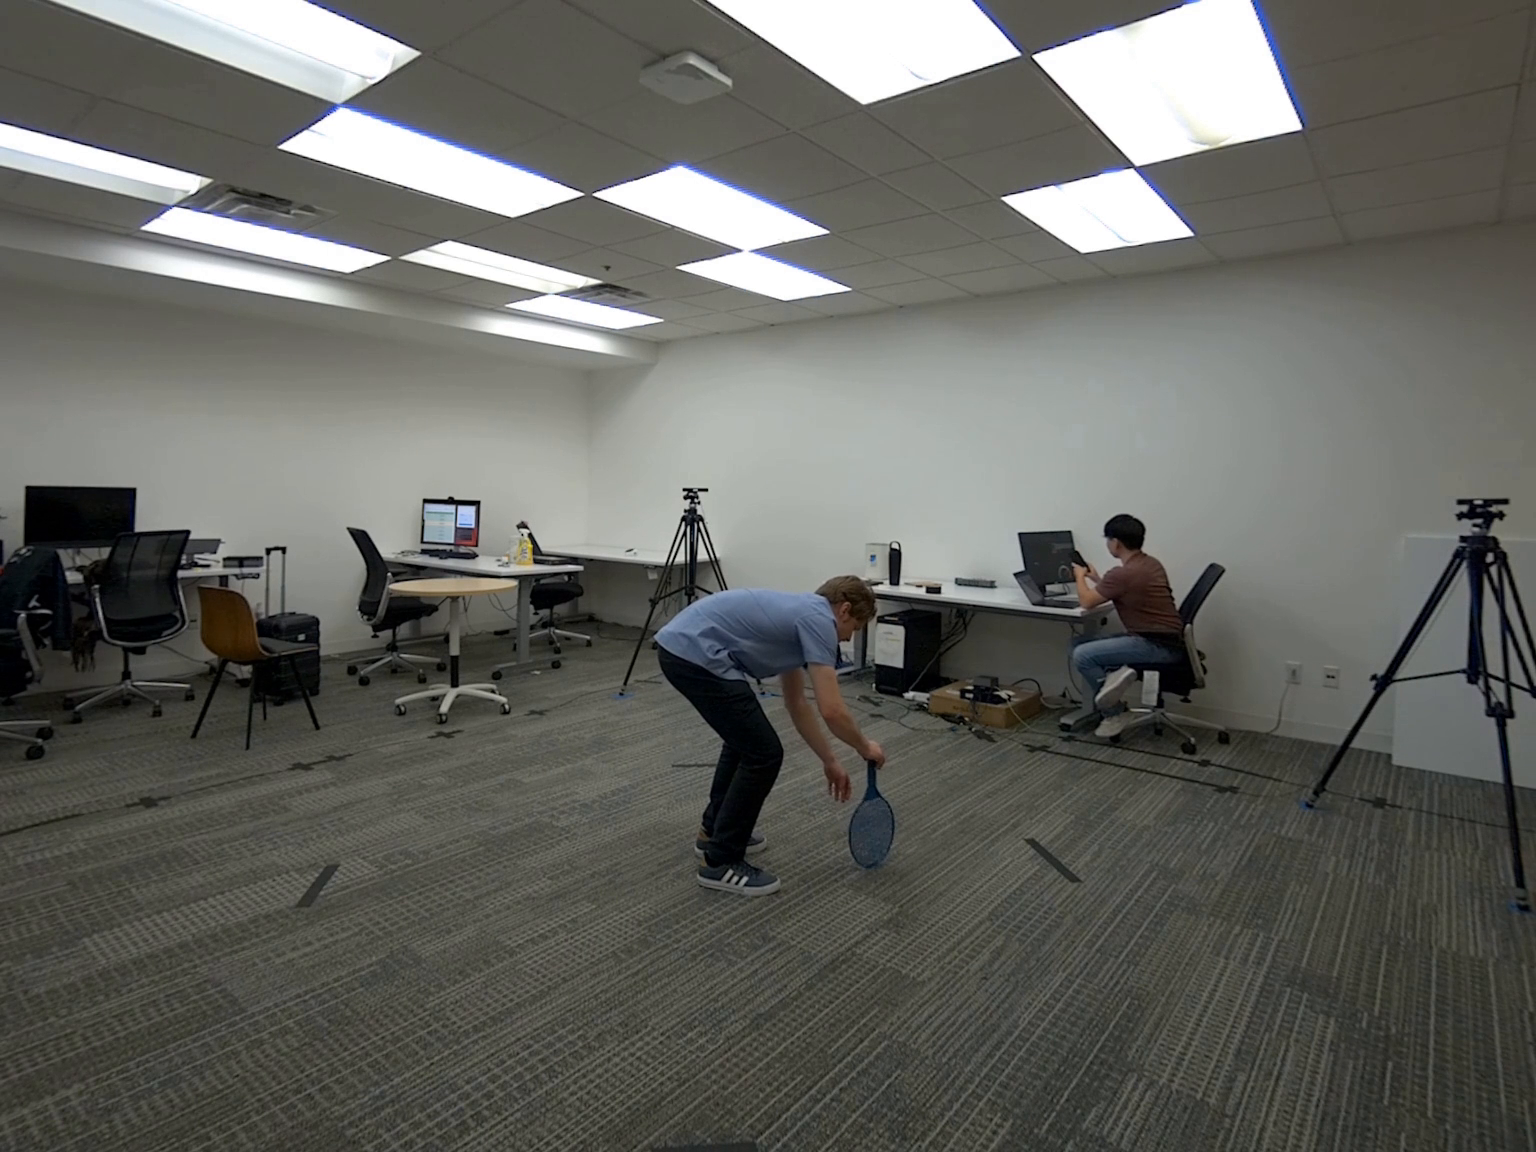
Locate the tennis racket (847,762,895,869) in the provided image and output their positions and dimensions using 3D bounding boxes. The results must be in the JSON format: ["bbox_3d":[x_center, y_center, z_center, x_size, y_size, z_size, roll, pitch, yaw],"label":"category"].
[{"bbox_3d":[0.378,0.861,3.156,0.208,0.432,0.032,-2,3,-28],"label":"tennis racket"}]
